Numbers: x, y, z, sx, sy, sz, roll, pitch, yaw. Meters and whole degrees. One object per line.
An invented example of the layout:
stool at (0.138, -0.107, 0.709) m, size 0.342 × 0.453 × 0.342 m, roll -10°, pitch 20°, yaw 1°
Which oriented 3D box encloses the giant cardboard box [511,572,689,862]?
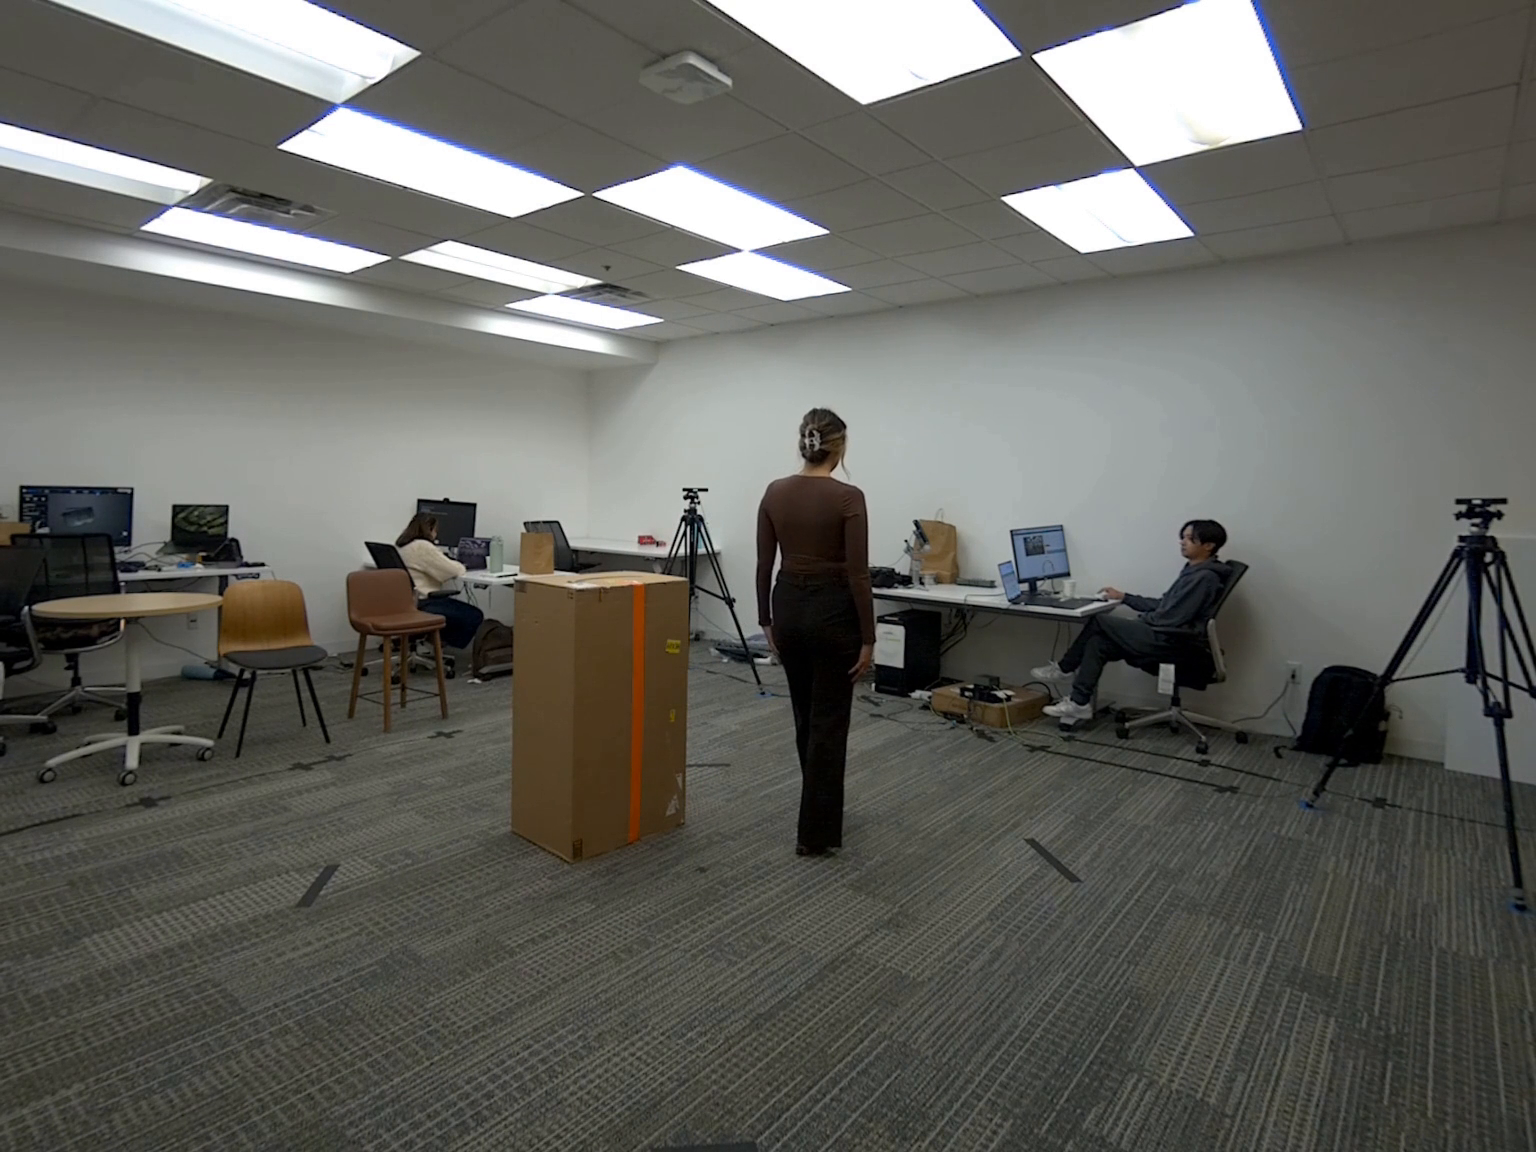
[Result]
giant cardboard box at (-0.691, 0.518, 3.456) m, size 0.462 × 1.024 × 0.566 m, roll 5°, pitch 5°, yaw 44°
